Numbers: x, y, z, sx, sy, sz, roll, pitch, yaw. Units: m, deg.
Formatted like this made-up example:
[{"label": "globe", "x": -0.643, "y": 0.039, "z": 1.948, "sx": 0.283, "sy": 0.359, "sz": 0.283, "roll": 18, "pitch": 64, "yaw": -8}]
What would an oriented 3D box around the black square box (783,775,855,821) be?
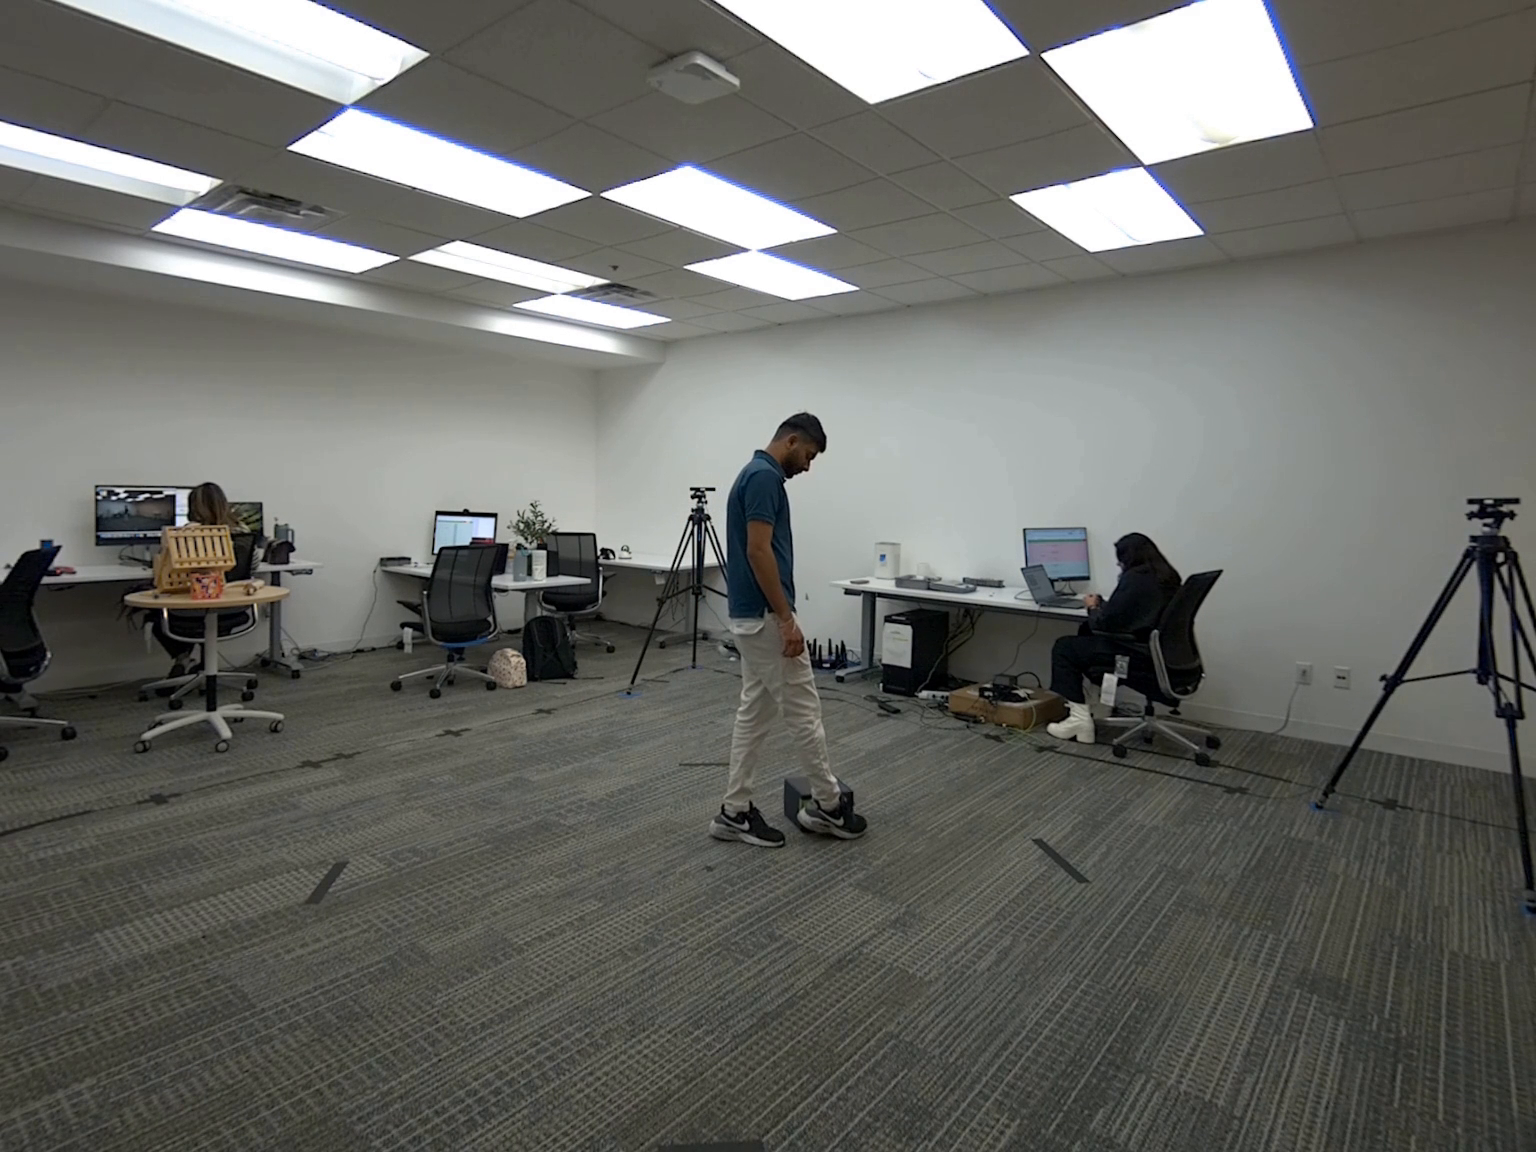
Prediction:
[{"label": "black square box", "x": 0.208, "y": 0.946, "z": 3.568, "sx": 0.224, "sy": 0.155, "sz": 0.222, "roll": 0, "pitch": 5, "yaw": -18}]
